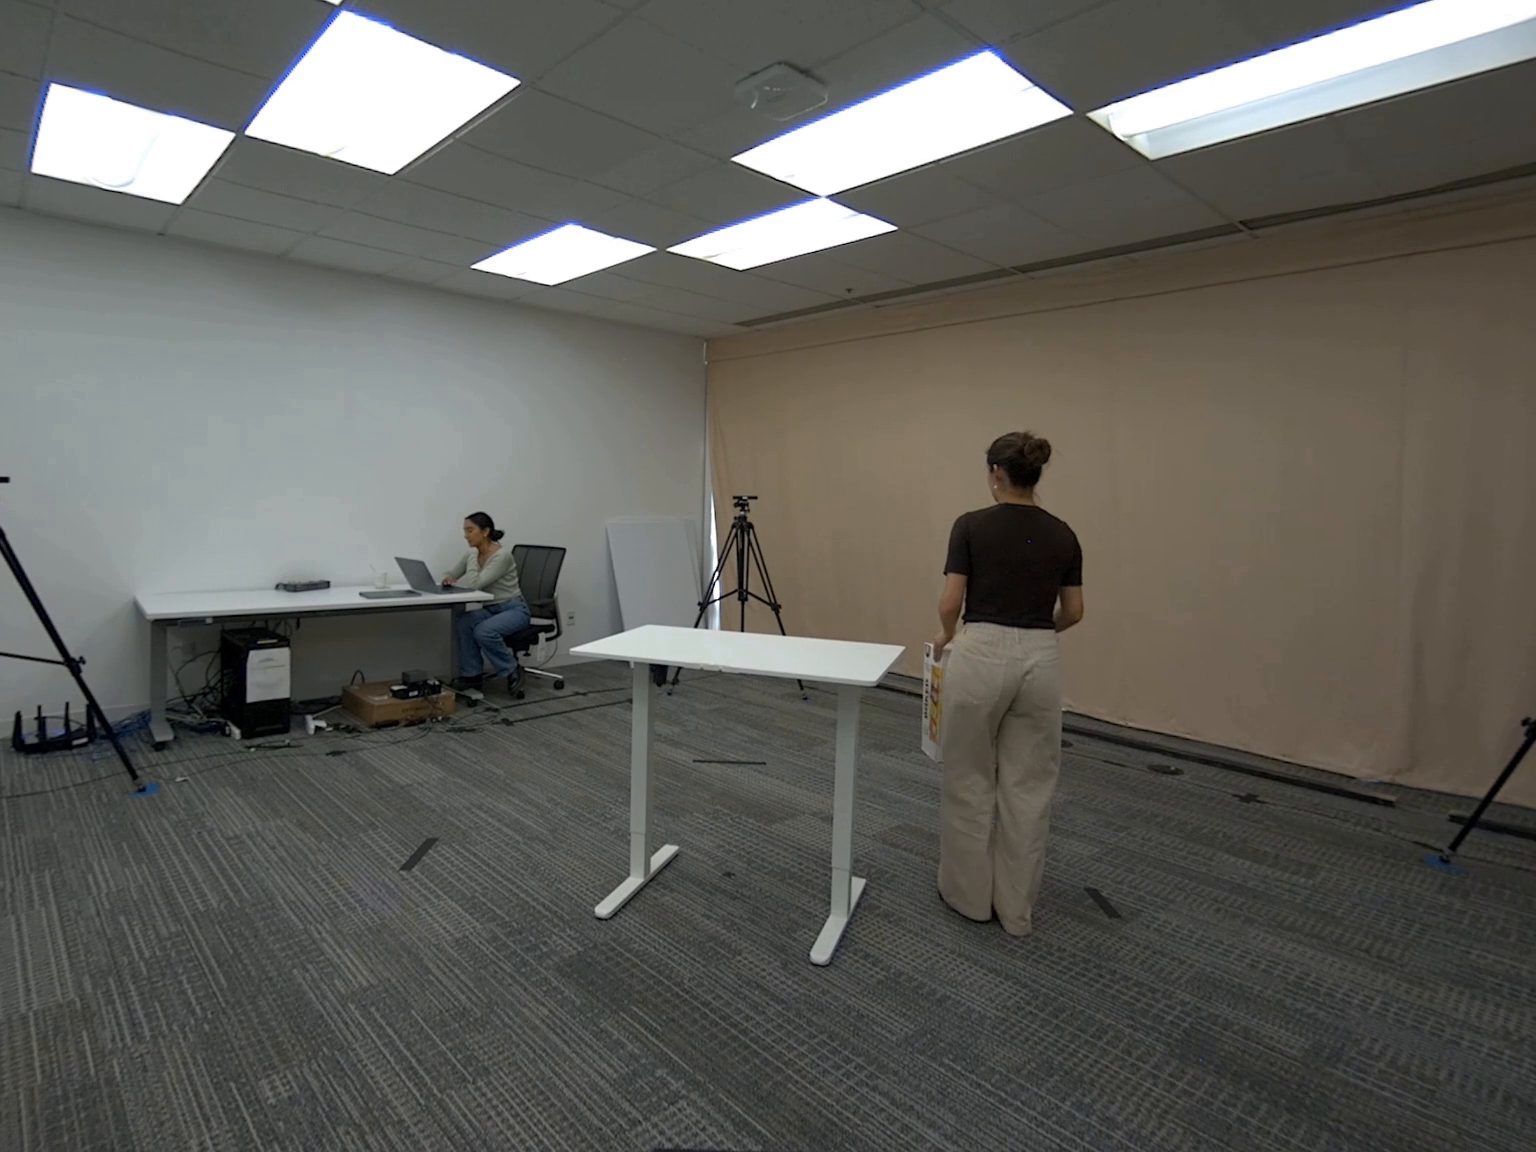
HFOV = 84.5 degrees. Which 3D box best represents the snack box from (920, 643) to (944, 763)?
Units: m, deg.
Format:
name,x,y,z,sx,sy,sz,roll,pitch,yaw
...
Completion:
name,x,y,z,sx,sy,sz,roll,pitch,yaw
snack box,0.769,0.468,3.095,0.339,0.405,0.206,1,0,-4
